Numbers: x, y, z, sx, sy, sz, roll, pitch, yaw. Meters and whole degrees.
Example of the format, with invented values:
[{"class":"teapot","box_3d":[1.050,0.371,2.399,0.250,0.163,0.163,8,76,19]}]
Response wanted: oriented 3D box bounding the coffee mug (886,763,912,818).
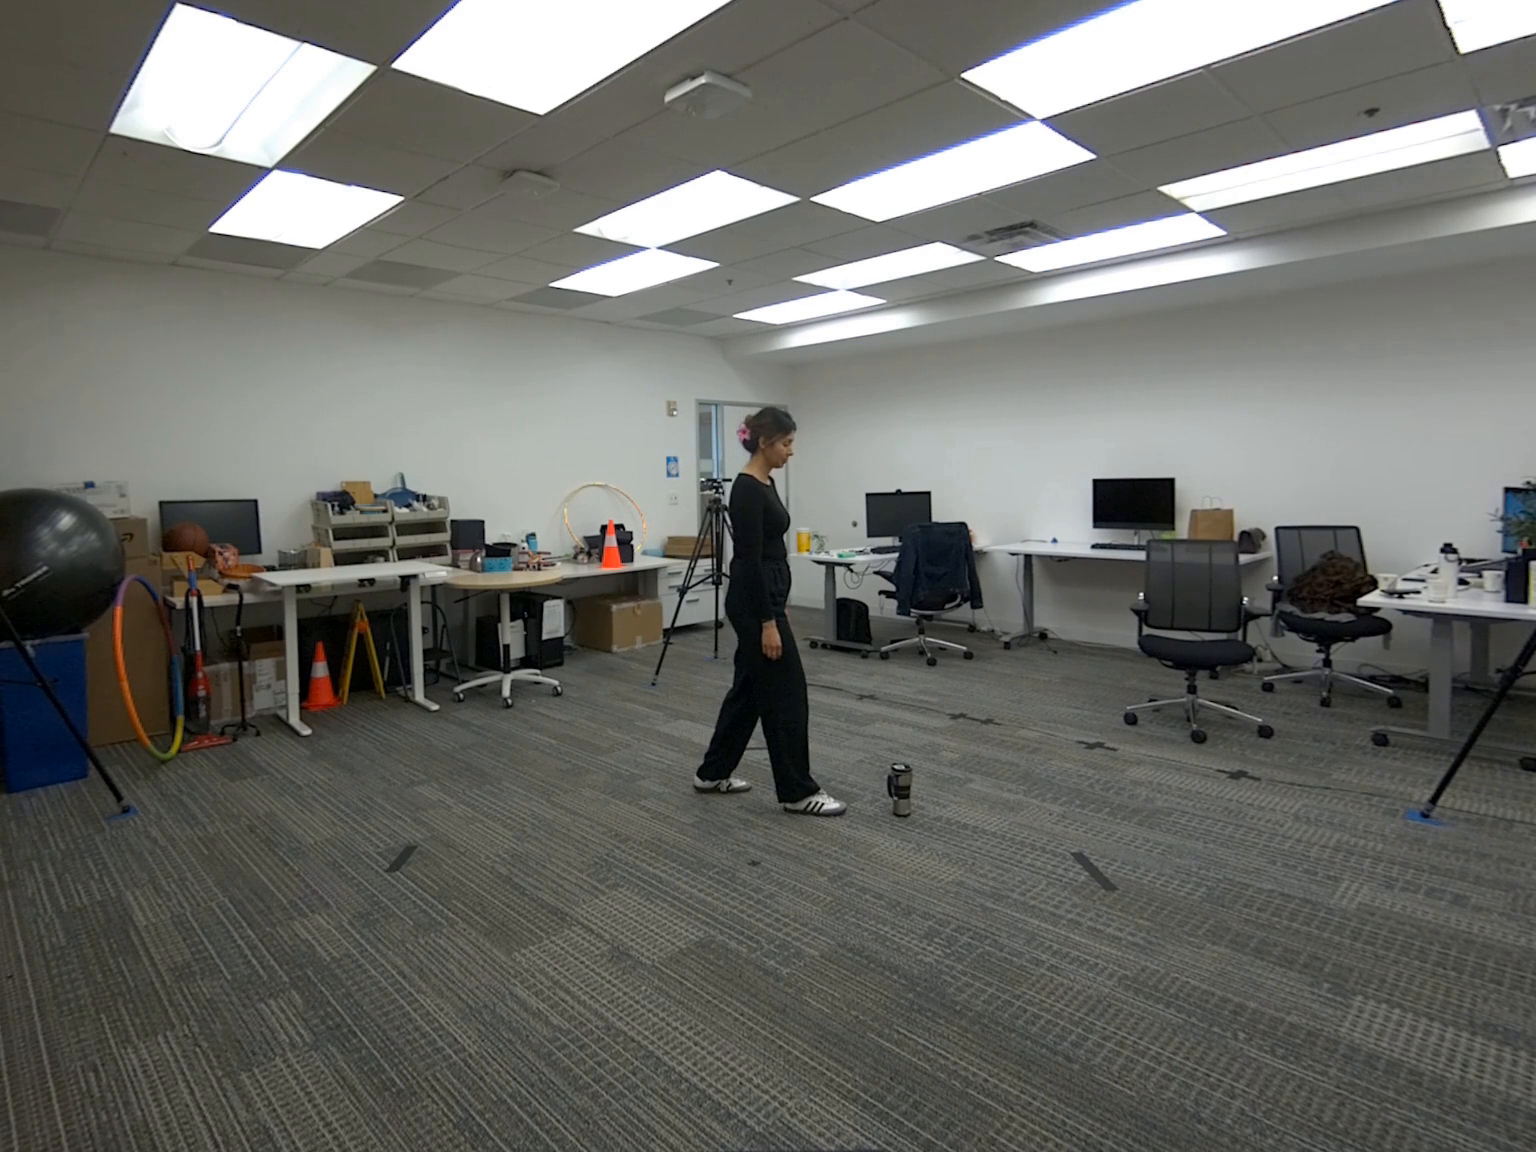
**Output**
[{"class":"coffee mug","box_3d":[0.531,0.886,3.529,0.120,0.202,0.090,3,5,-17]}]
